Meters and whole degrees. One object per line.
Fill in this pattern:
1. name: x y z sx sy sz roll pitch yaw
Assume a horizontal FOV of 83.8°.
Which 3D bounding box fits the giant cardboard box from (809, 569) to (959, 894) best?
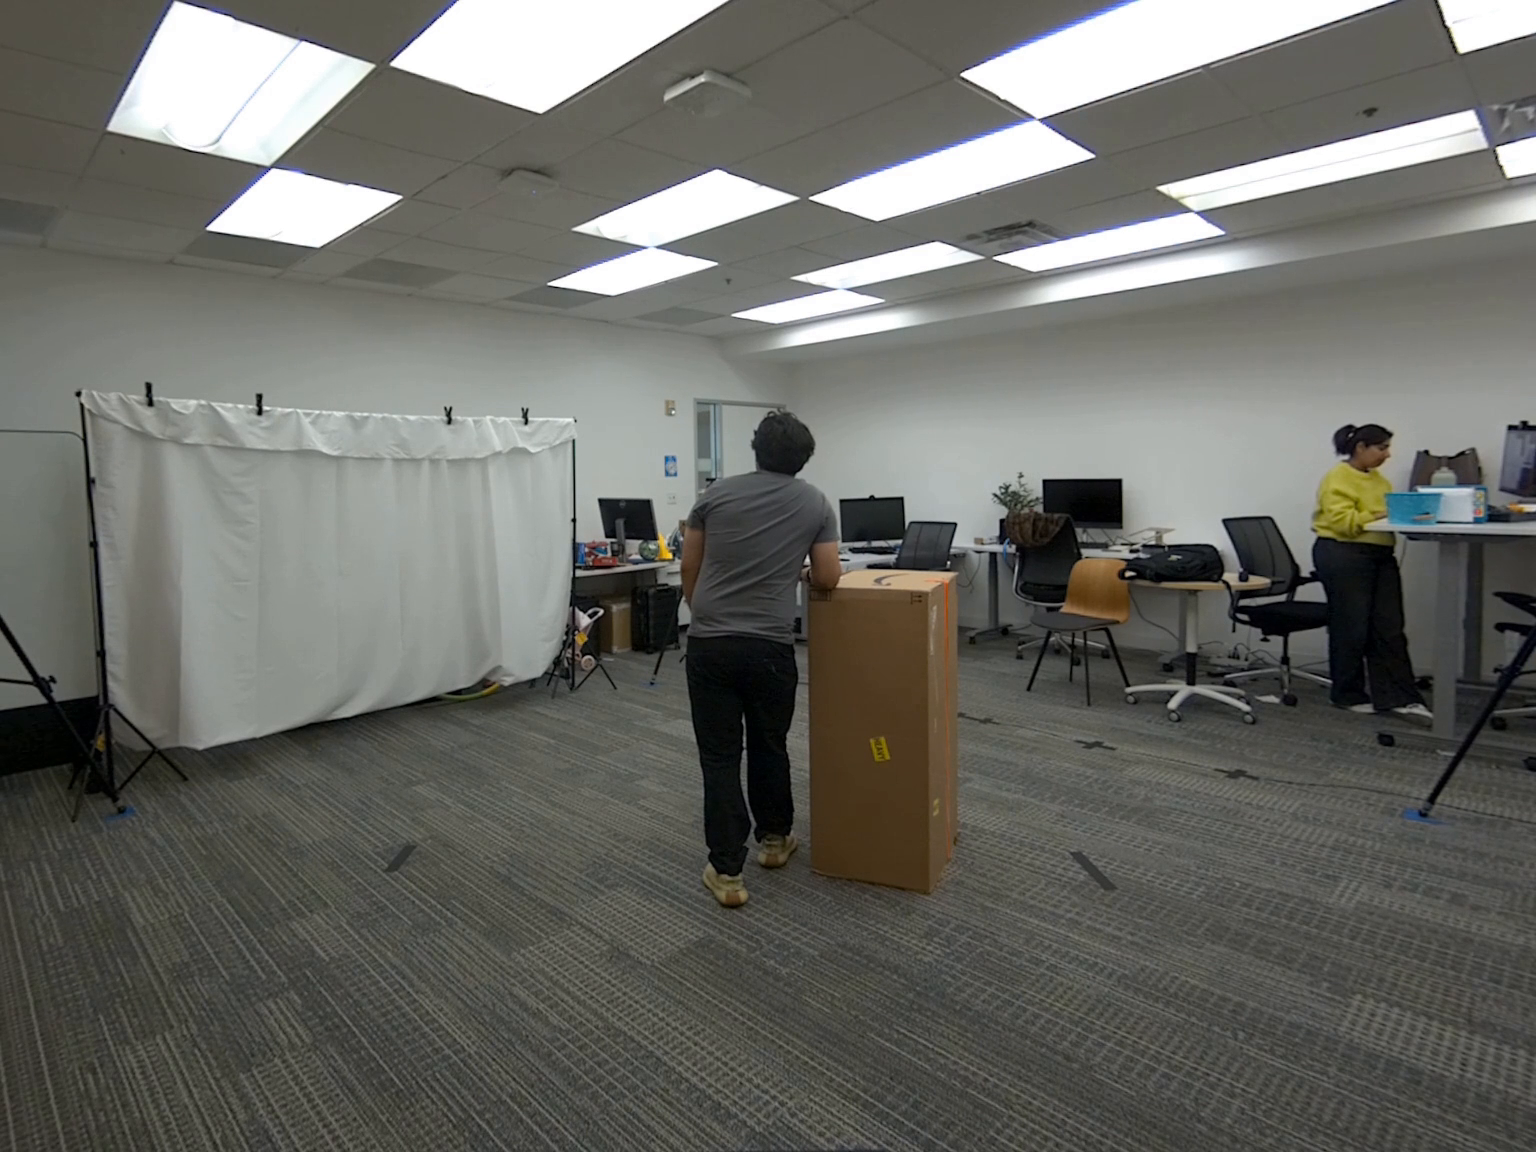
1. giant cardboard box: 0.445 0.519 3.165 0.436 1.022 0.566 0 5 25
